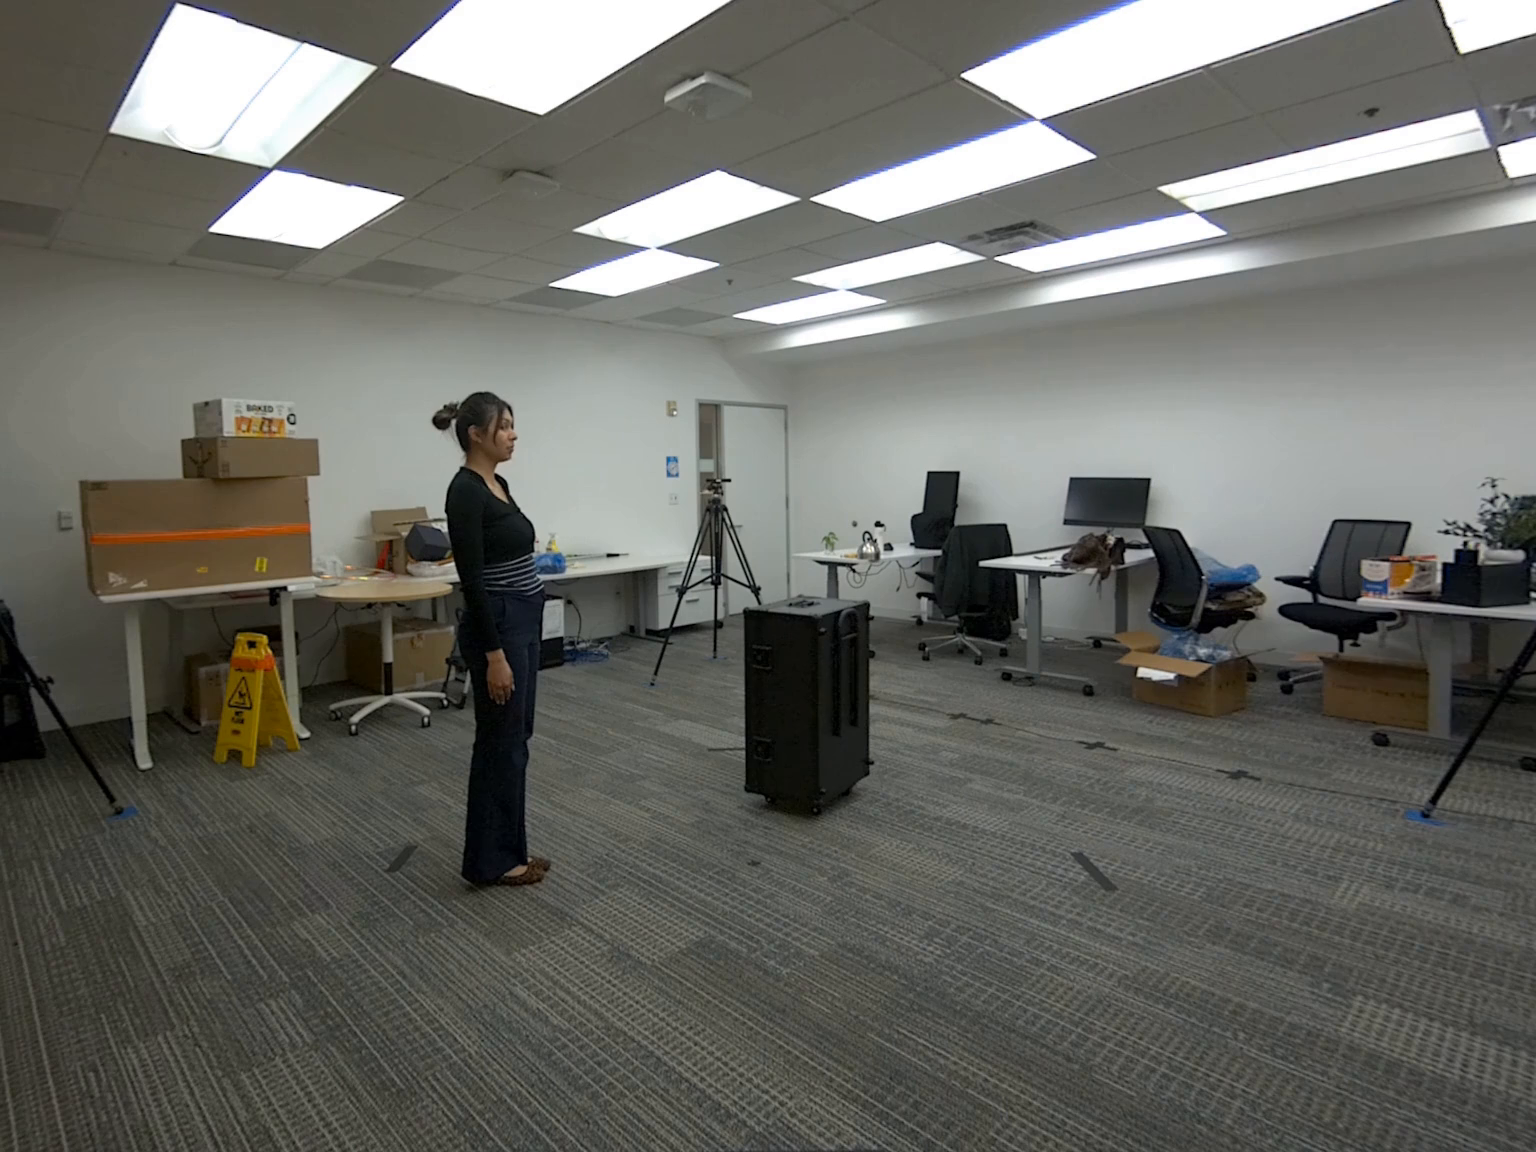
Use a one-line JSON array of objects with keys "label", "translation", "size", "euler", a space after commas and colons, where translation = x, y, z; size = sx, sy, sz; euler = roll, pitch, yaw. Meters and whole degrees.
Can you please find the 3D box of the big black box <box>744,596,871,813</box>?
[{"label": "big black box", "translation": [0.188, 0.548, 3.697], "size": [0.408, 0.858, 0.508], "euler": [3, 5, 34]}]
